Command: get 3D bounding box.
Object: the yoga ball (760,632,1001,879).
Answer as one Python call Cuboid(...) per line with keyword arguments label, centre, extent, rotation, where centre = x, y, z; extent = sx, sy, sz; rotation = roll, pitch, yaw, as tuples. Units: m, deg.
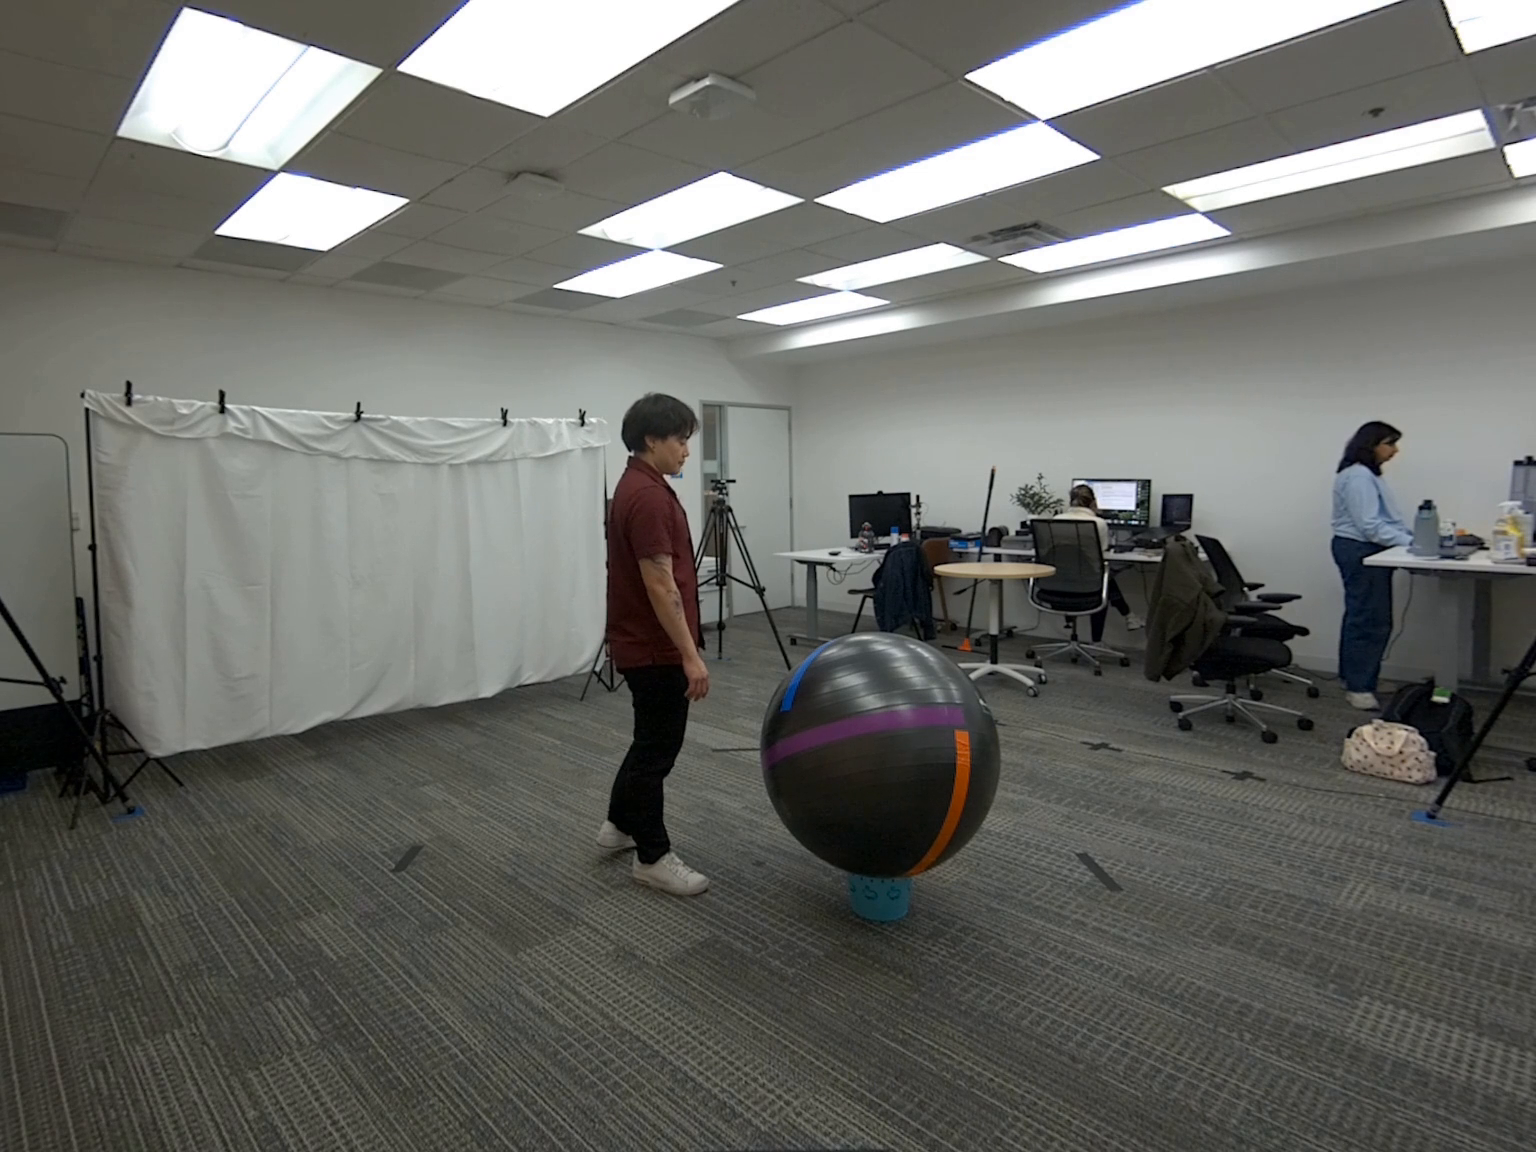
Cuboid(label="yoga ball", centre=(0.355, 0.568, 2.750), extent=(0.757, 0.755, 0.762), rotation=(-1, 5, -2))
